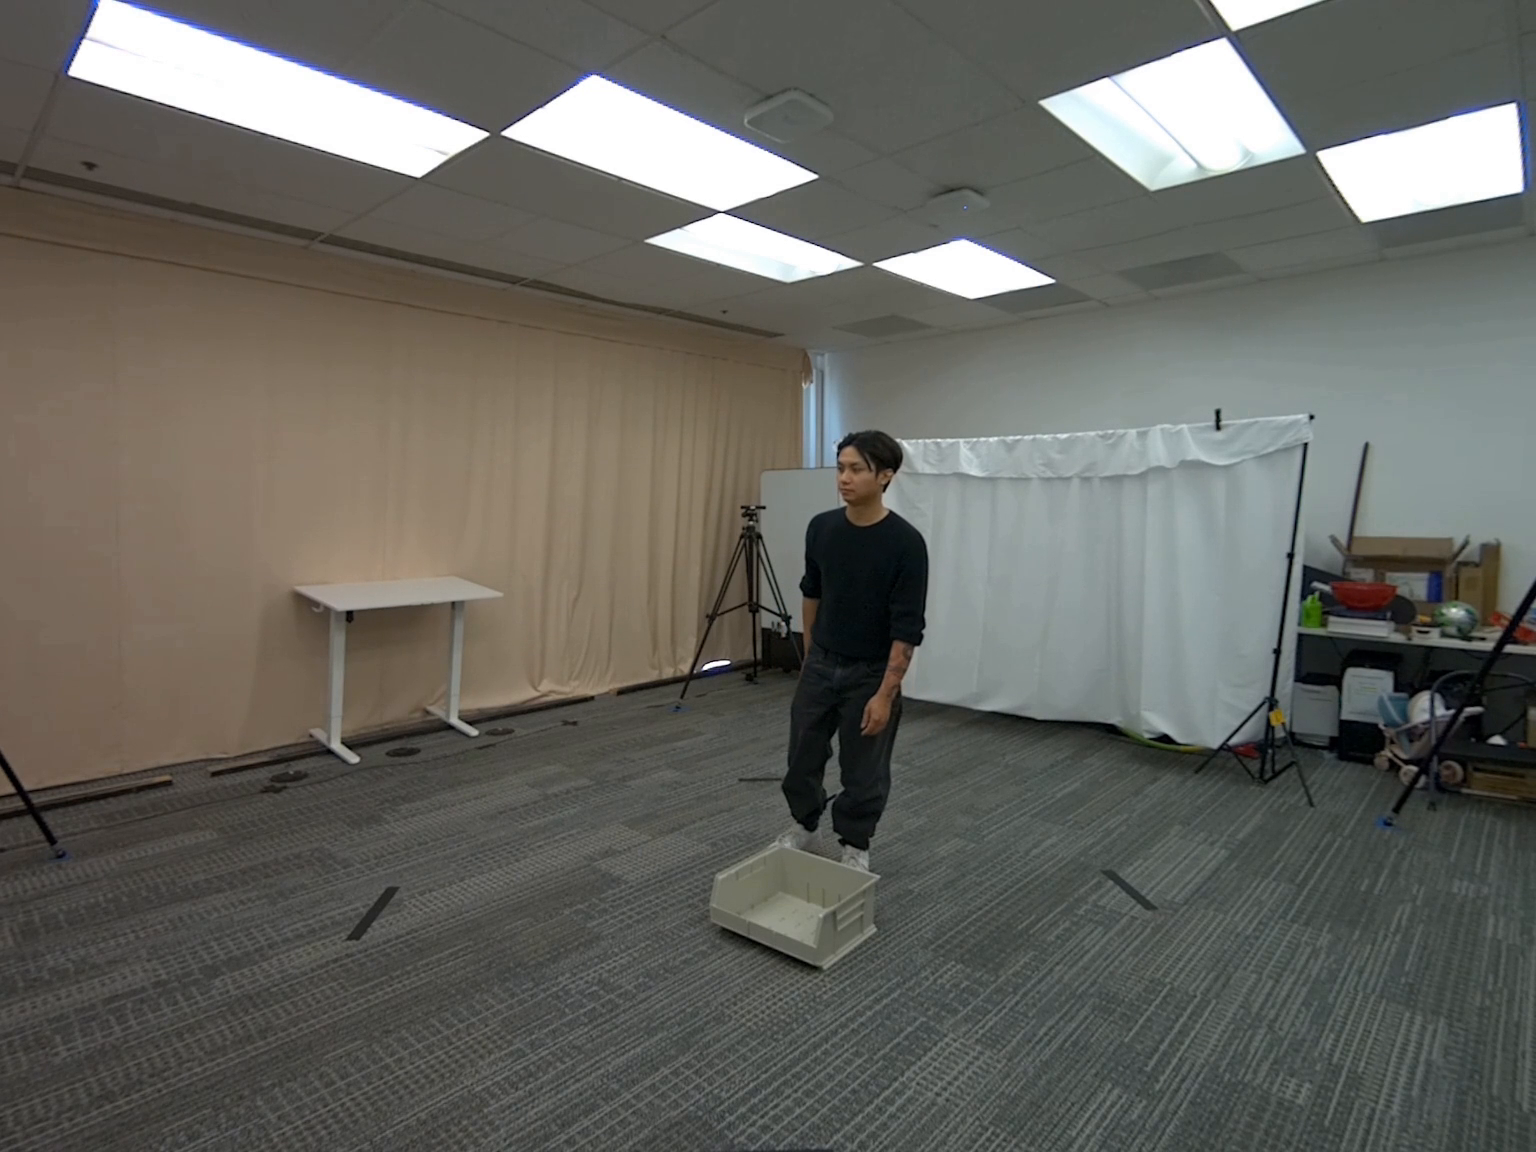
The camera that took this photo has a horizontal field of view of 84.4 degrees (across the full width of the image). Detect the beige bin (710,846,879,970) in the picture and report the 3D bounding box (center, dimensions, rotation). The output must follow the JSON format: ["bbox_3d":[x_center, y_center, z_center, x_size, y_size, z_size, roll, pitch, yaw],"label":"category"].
[{"bbox_3d":[0.092,1.074,2.754,0.436,0.189,0.366,2,4,39],"label":"beige bin"}]
